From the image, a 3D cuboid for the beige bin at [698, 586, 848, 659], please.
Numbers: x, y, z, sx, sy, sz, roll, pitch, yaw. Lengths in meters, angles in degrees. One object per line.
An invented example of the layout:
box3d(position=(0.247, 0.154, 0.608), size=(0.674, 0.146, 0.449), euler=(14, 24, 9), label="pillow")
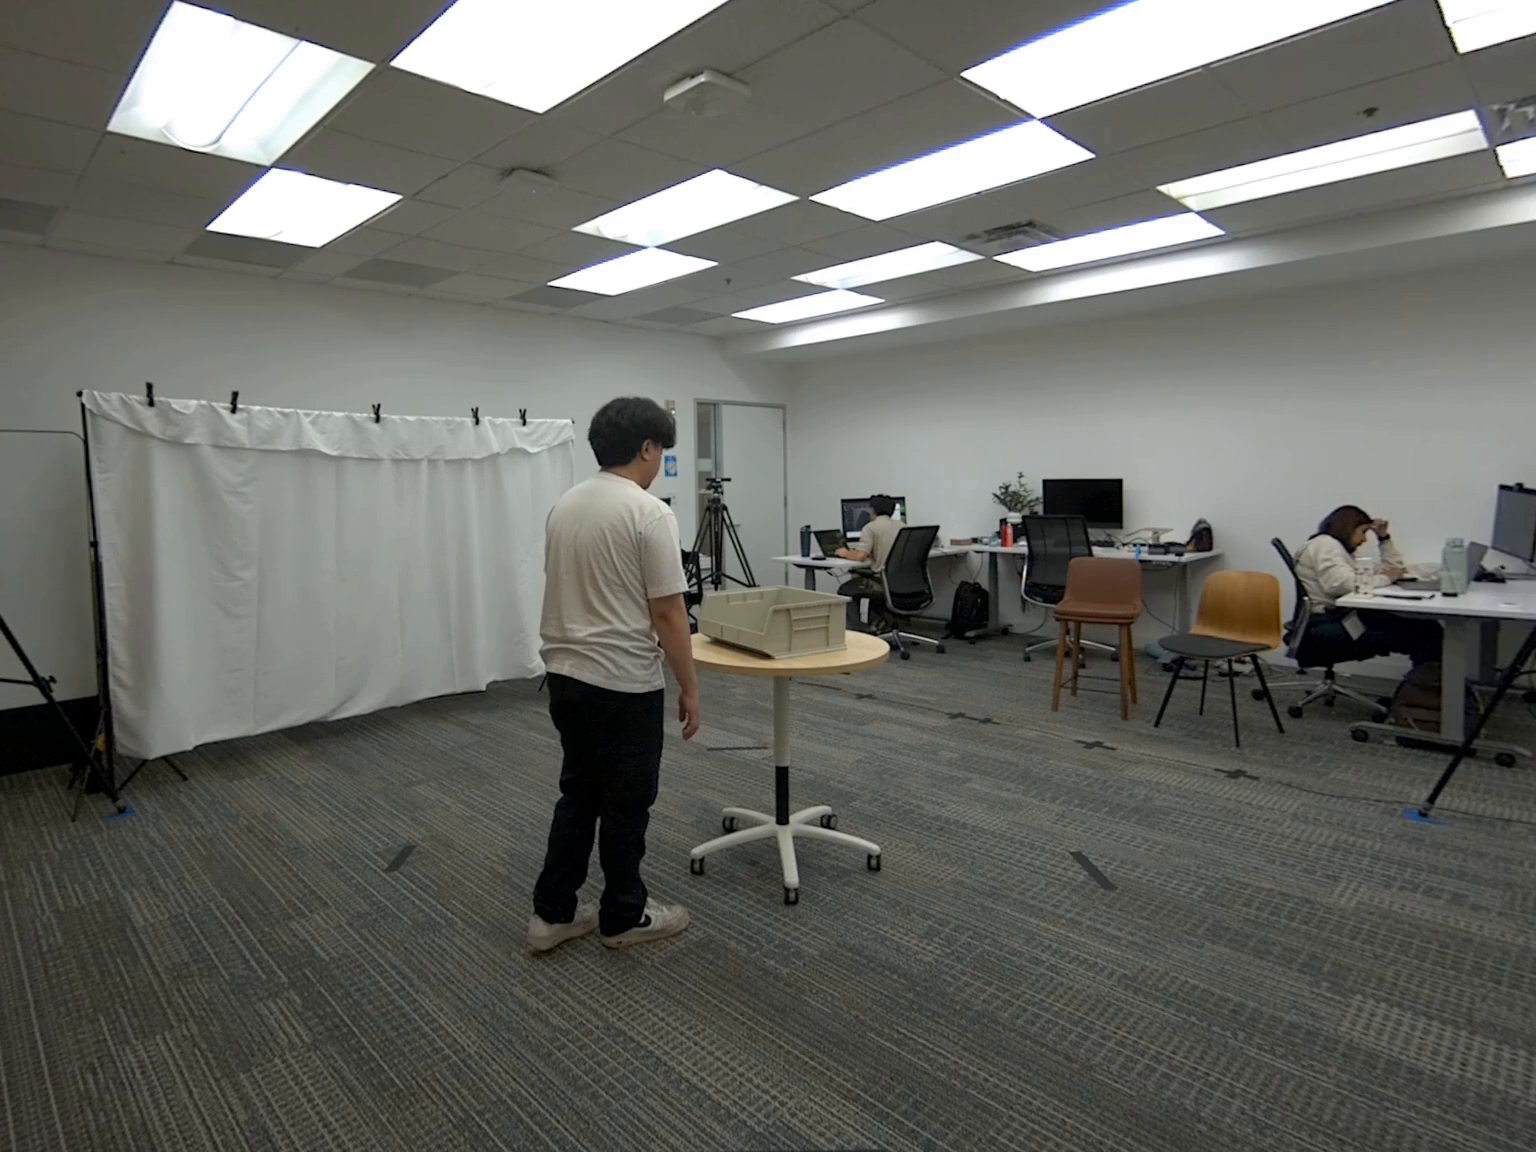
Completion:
box3d(position=(0.017, 0.159, 3.047), size=(0.368, 0.188, 0.435), euler=(-3, 6, -34), label="beige bin")
